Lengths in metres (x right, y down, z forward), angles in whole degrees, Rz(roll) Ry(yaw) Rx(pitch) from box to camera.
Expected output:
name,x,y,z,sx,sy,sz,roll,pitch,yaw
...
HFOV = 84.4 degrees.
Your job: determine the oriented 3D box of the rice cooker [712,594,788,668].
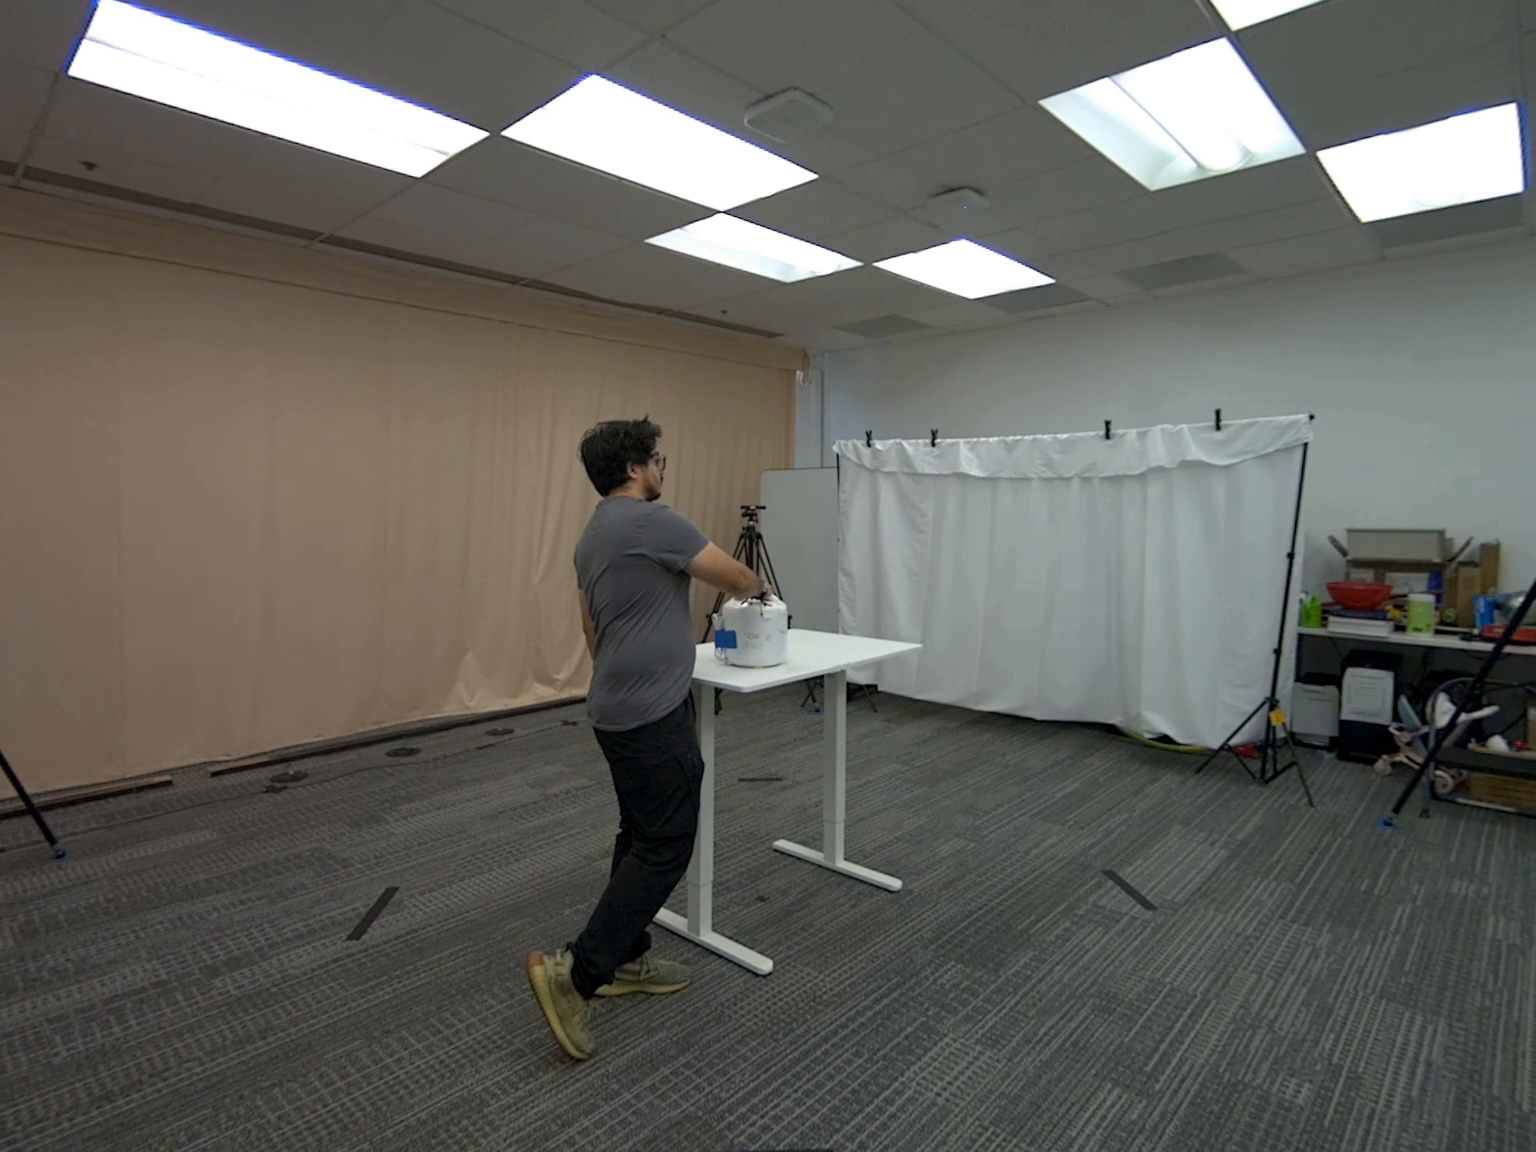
name,x,y,z,sx,sy,sz,roll,pitch,yaw
rice cooker,-0.040,0.168,2.715,0.227,0.232,0.211,3,5,32
